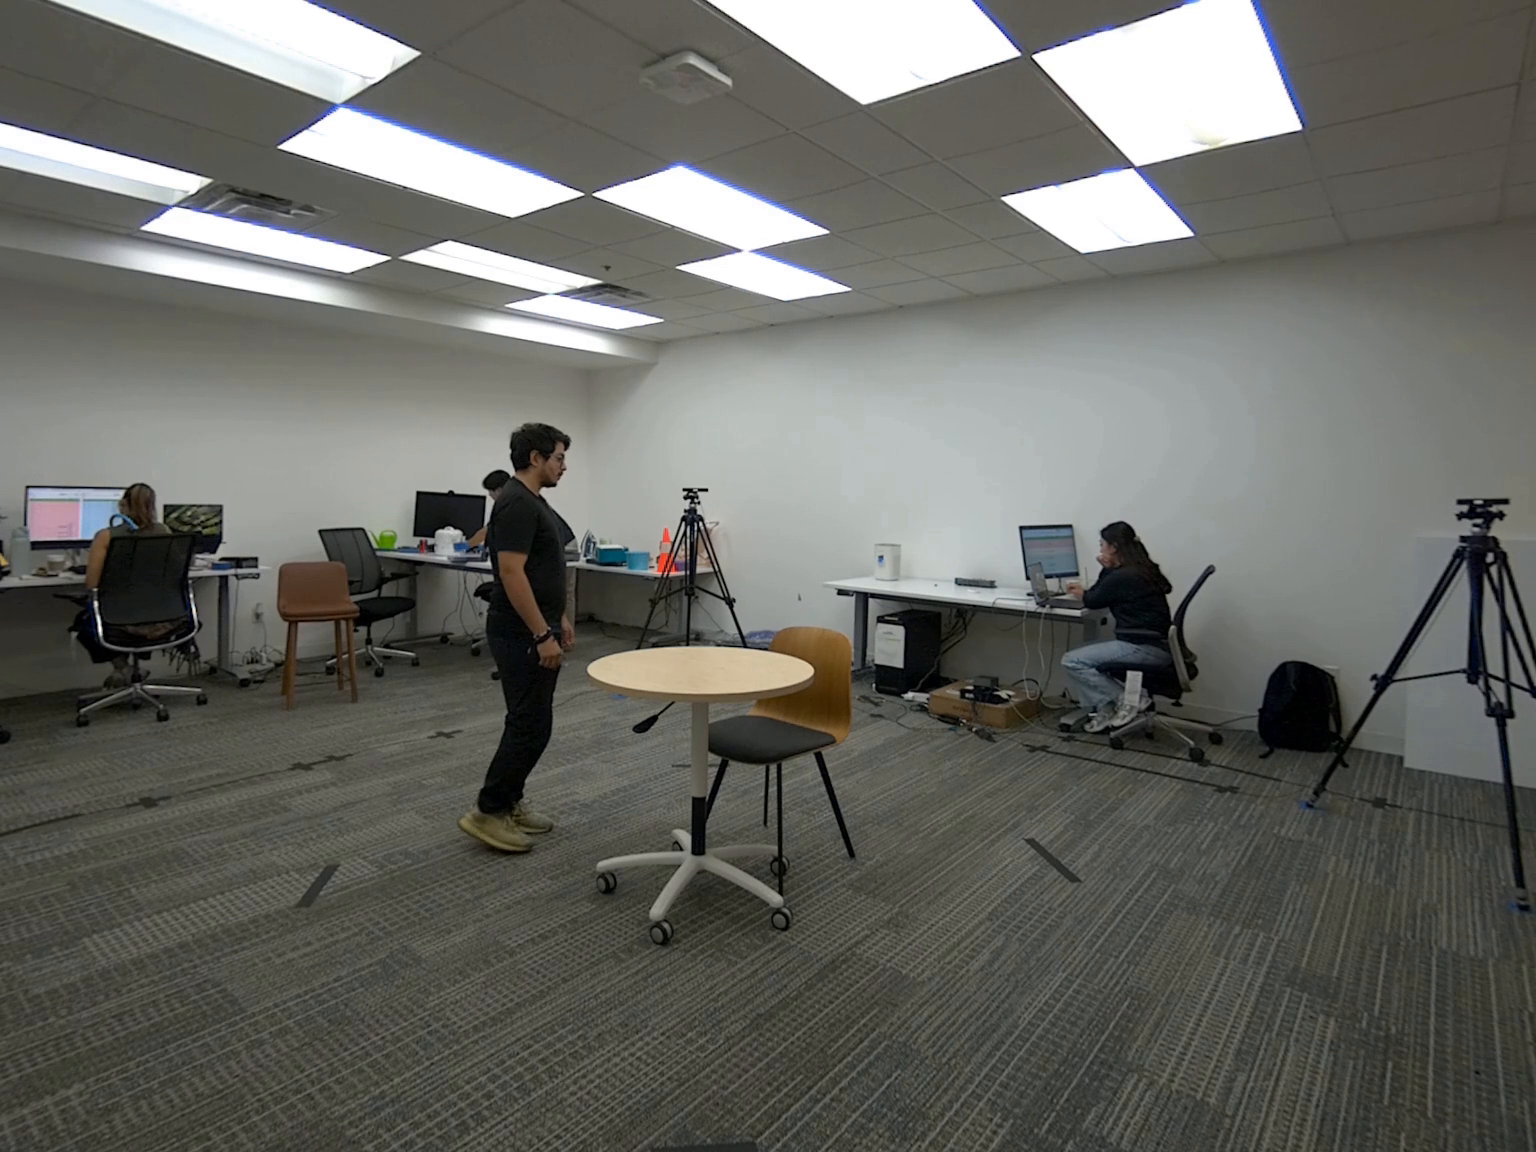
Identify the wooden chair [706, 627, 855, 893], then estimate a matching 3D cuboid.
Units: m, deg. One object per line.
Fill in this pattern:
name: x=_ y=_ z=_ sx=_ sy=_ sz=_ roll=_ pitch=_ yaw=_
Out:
wooden chair: x=0.010 y=0.634 z=3.189 sx=0.494 sy=0.877 sz=0.505 roll=5 pitch=0 yaw=42
